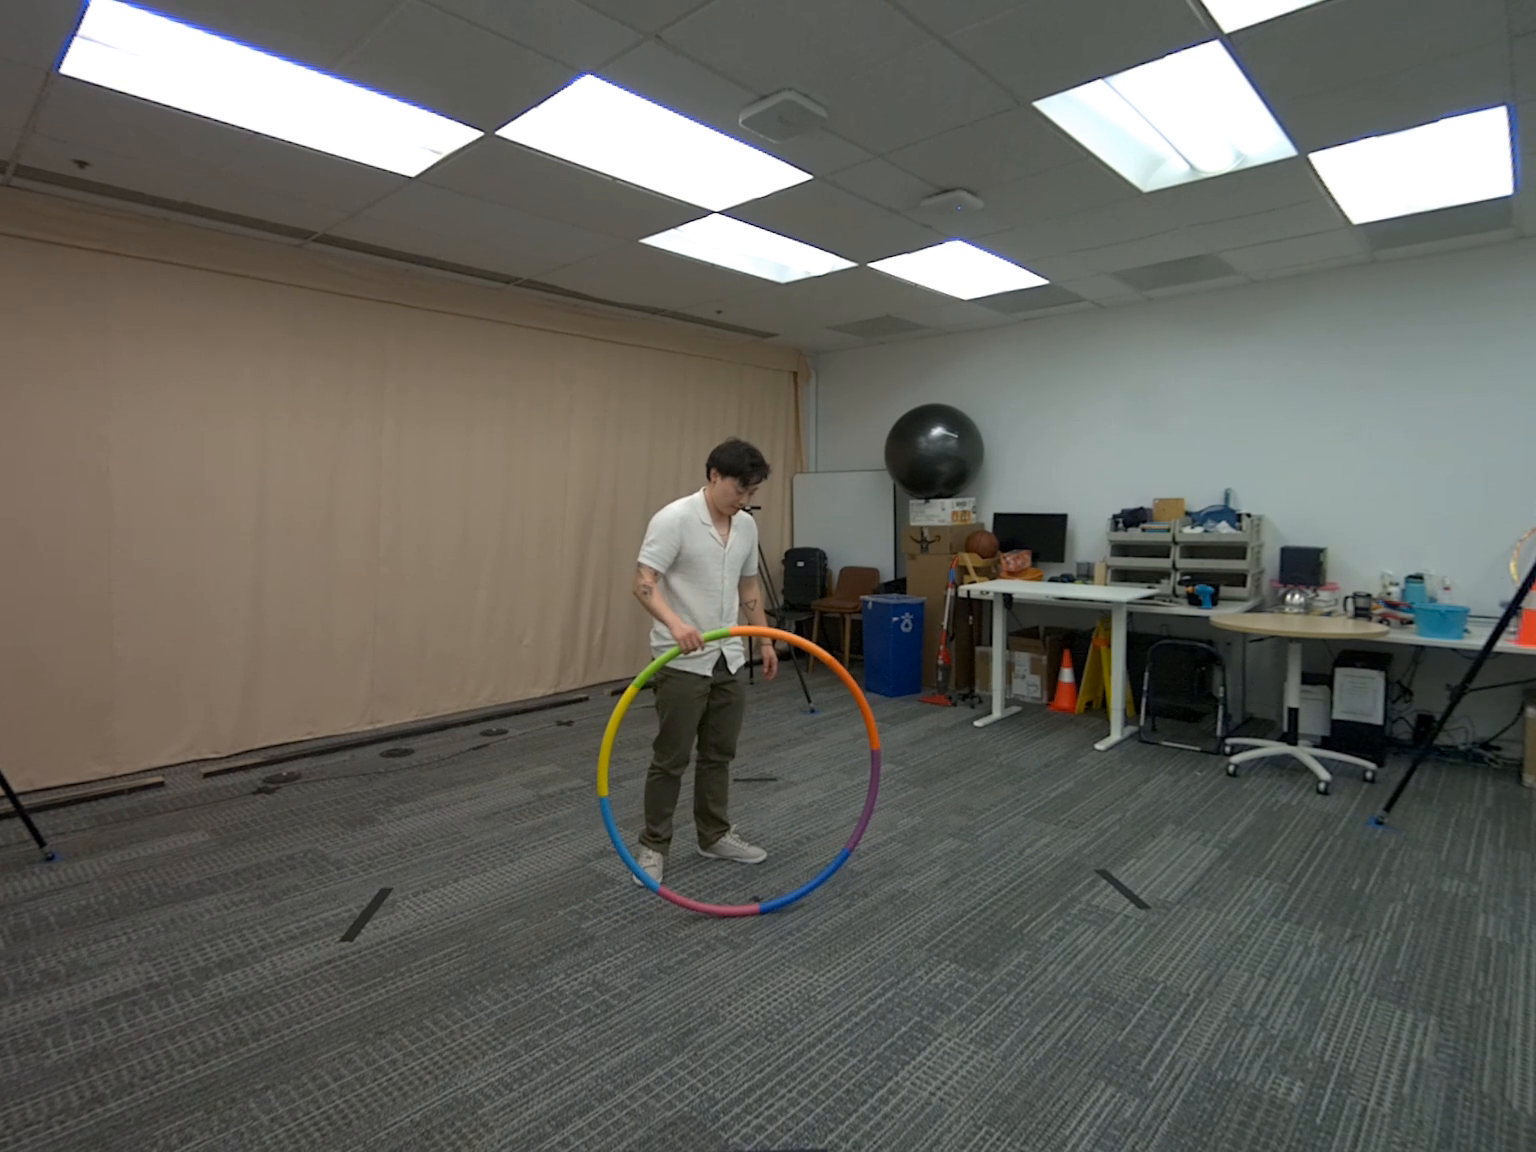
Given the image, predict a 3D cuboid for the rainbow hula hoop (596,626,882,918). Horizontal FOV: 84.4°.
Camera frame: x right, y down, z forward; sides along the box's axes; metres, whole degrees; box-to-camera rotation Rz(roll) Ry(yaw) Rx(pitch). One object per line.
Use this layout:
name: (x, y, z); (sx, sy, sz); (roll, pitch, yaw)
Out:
rainbow hula hoop: (-0.080, 0.664, 2.872); (0.966, 0.979, 0.036); (-1, 0, -12)
